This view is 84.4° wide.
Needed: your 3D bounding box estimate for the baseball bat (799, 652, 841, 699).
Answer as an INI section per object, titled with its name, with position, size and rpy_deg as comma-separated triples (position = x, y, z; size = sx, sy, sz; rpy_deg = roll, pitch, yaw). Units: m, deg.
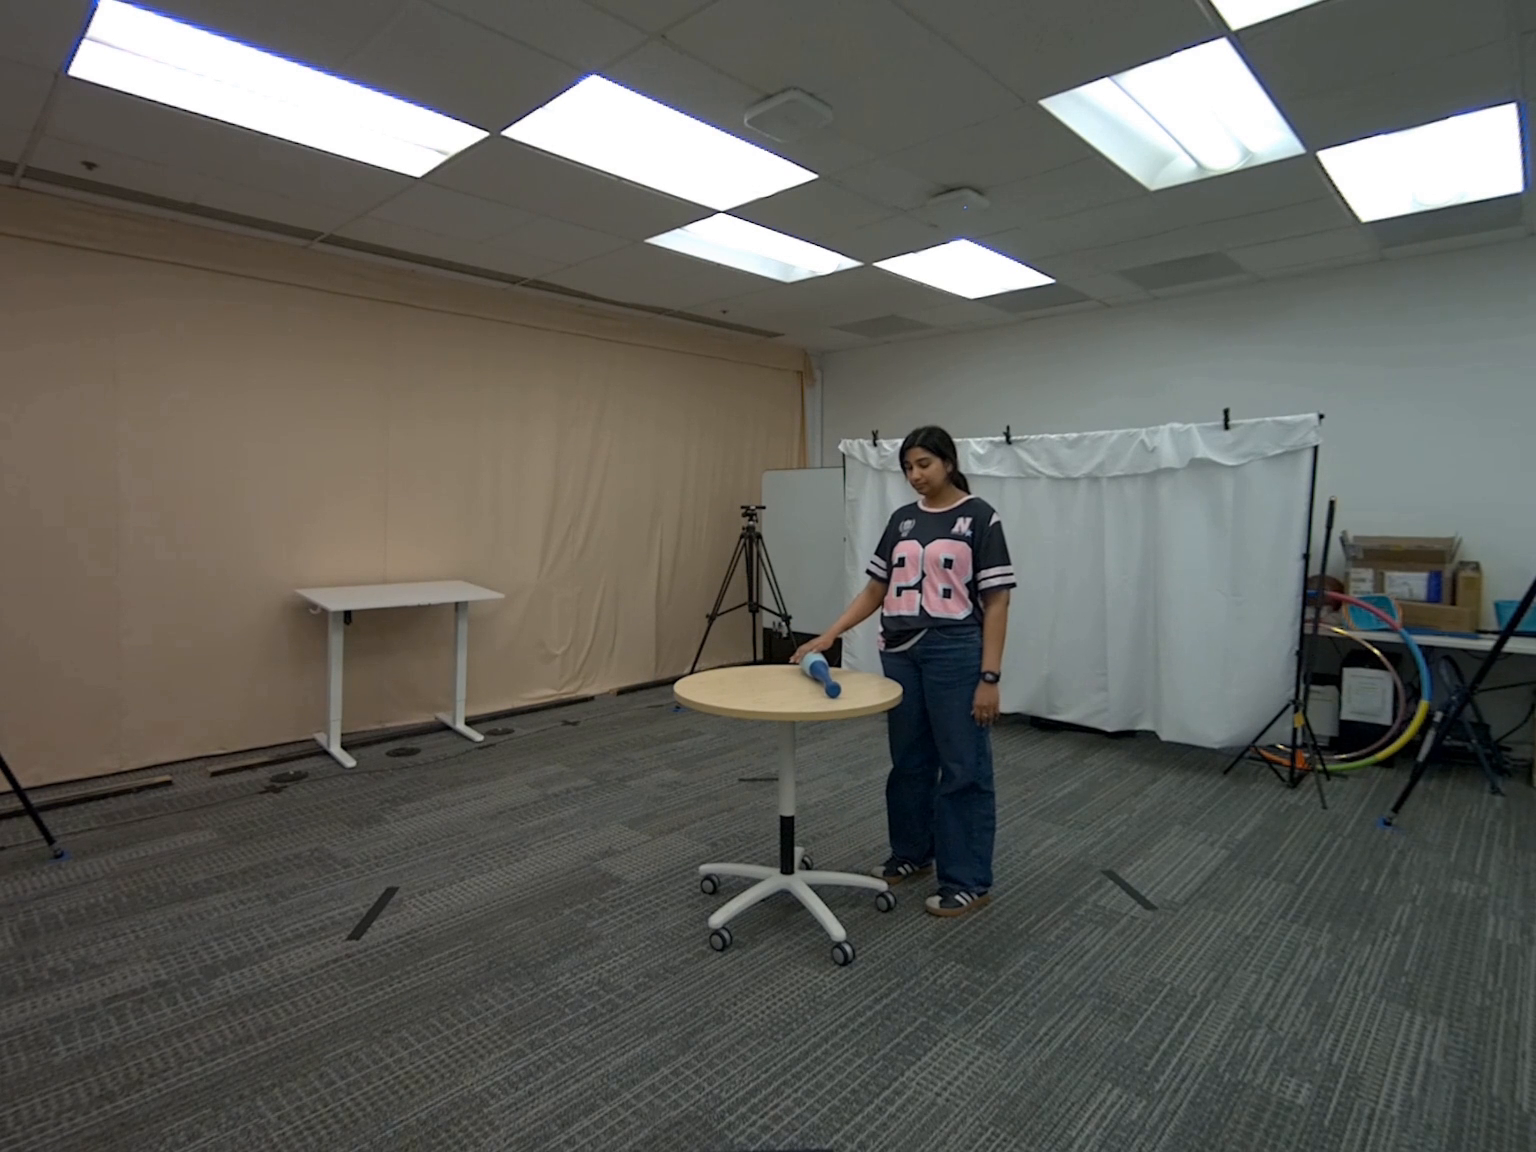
[baseball bat]
position = 0.185, 0.333, 2.899
size = 0.088, 0.089, 0.549
rpy_deg = -1, 6, -8
